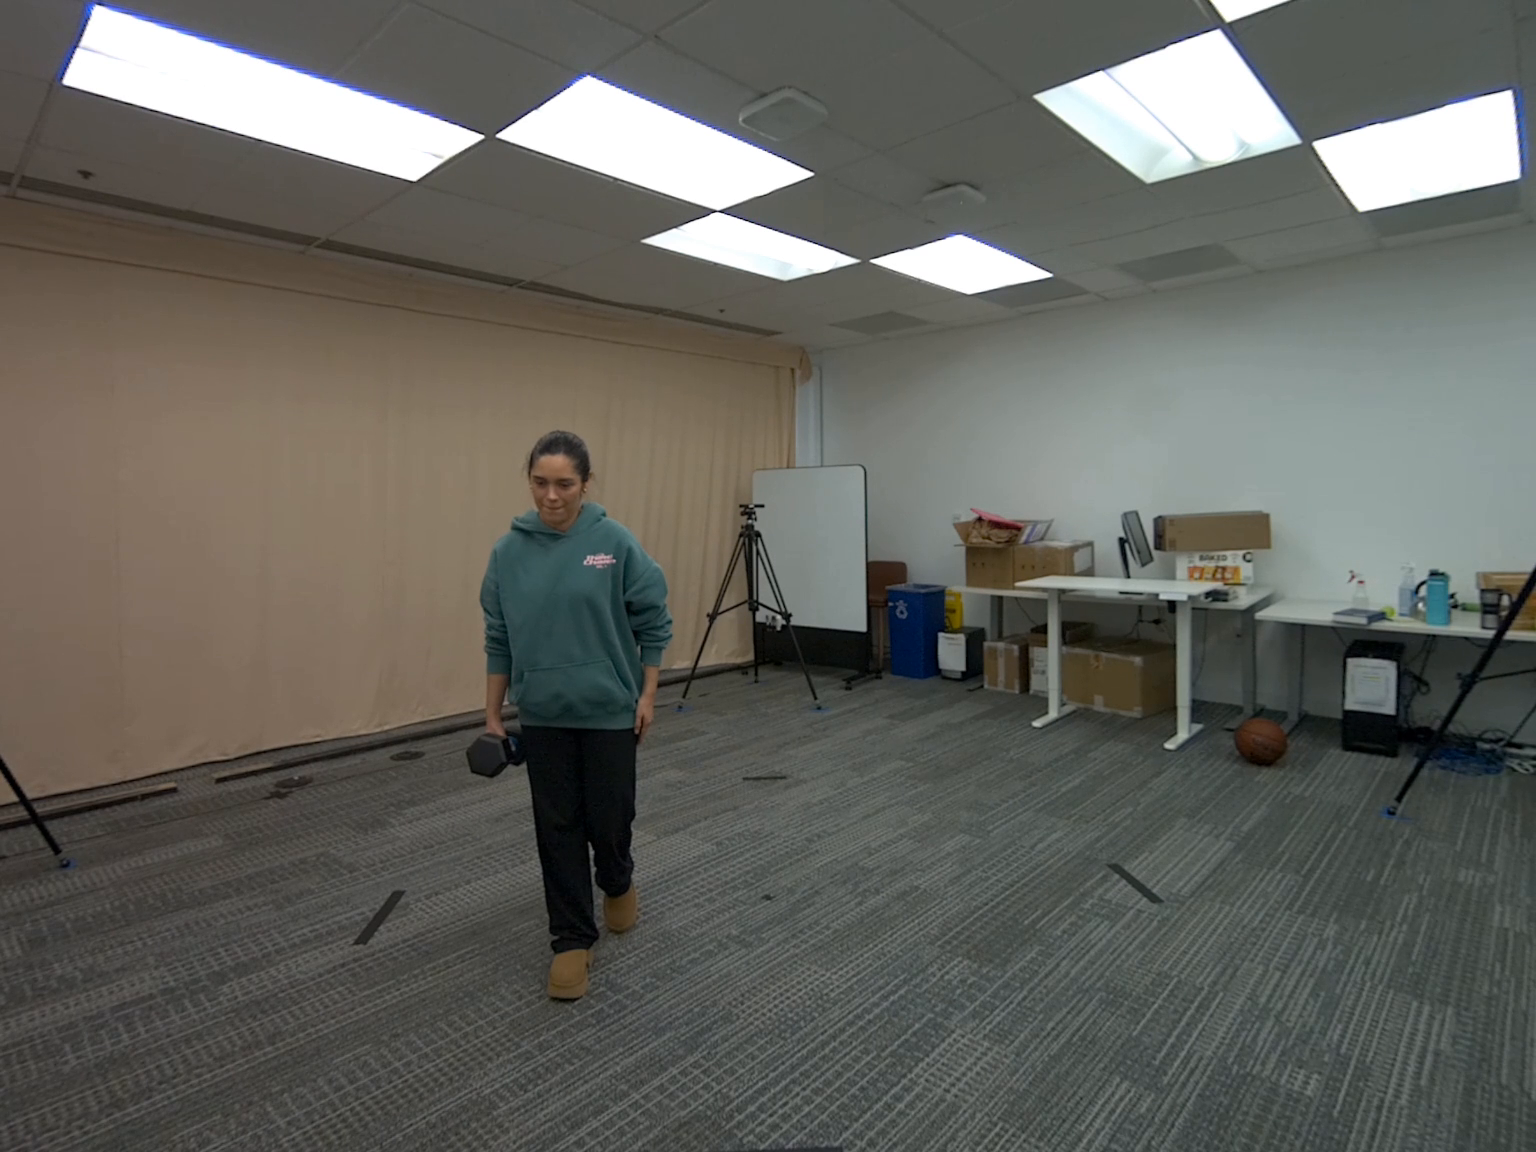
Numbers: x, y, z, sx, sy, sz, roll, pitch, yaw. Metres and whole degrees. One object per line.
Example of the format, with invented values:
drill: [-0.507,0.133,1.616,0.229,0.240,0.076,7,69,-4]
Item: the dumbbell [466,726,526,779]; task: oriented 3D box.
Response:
dumbbell: [-0.771,0.511,2.437,0.109,0.123,0.292,-18,-4,0]
